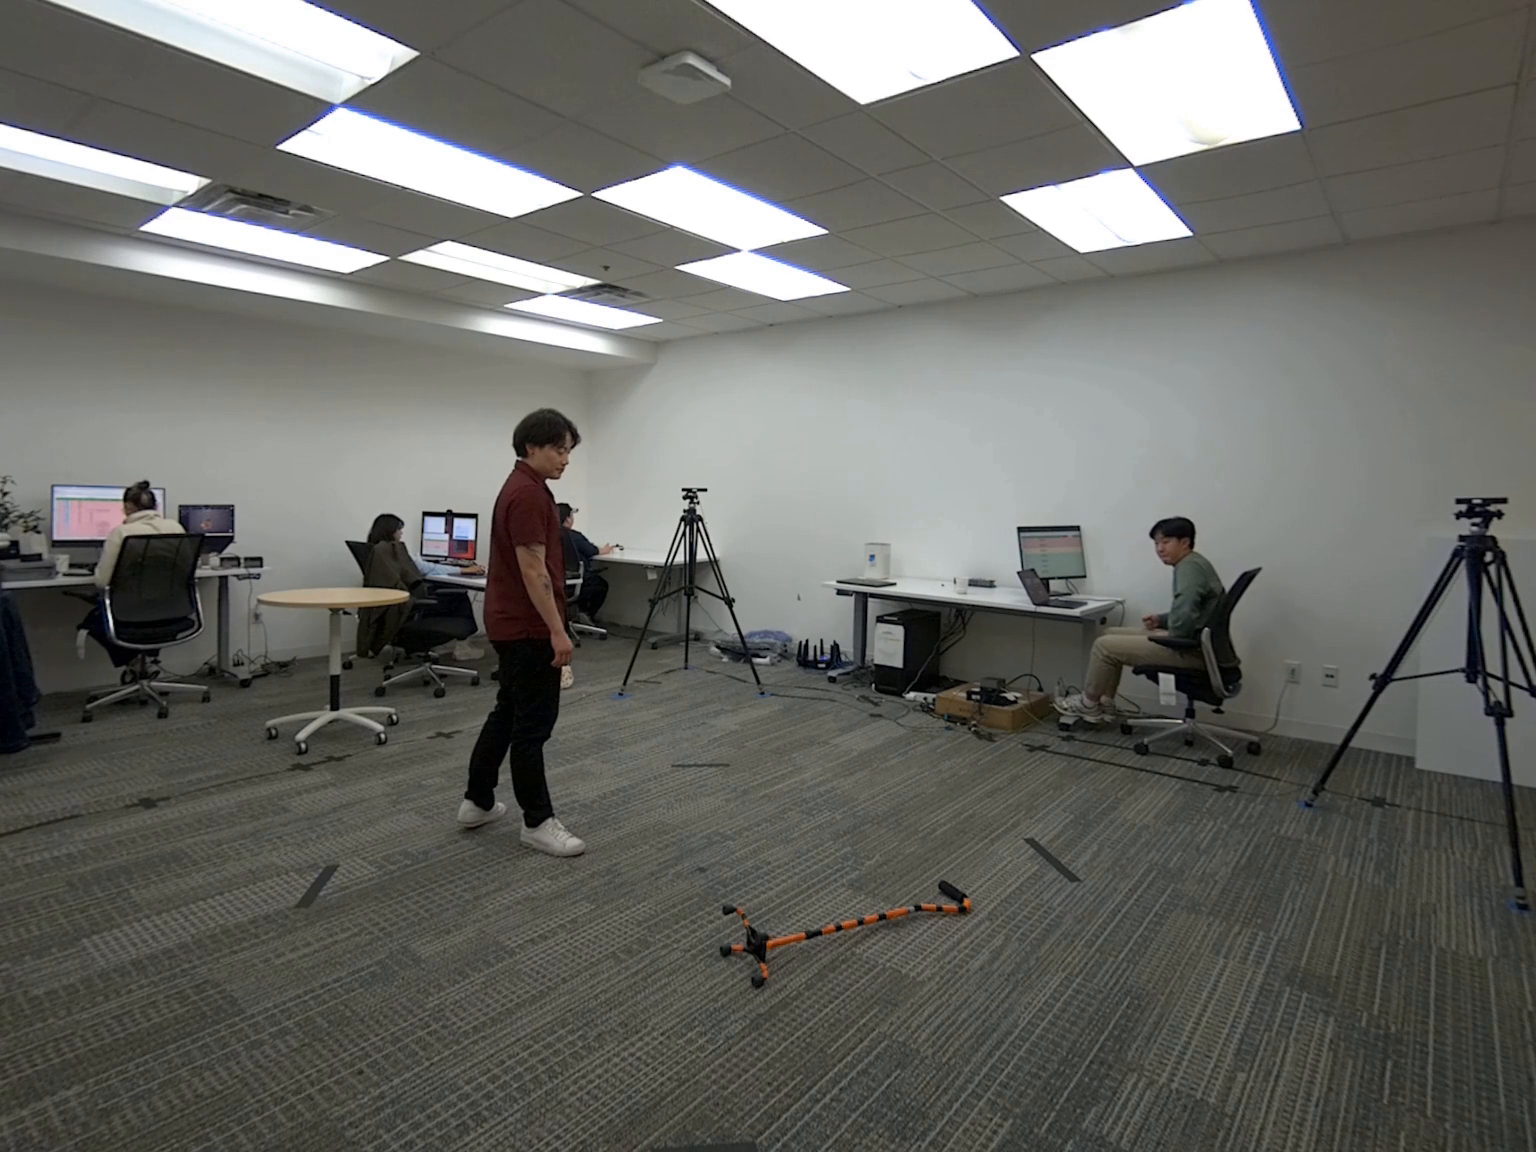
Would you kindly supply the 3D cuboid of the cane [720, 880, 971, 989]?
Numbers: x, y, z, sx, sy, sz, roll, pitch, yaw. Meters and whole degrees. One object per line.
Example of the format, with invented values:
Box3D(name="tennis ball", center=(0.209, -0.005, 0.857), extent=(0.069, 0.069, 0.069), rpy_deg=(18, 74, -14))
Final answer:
Box3D(name="cane", center=(0.286, 1.065, 2.680), extent=(0.882, 0.151, 0.213), rpy_deg=(2, 6, -31))
